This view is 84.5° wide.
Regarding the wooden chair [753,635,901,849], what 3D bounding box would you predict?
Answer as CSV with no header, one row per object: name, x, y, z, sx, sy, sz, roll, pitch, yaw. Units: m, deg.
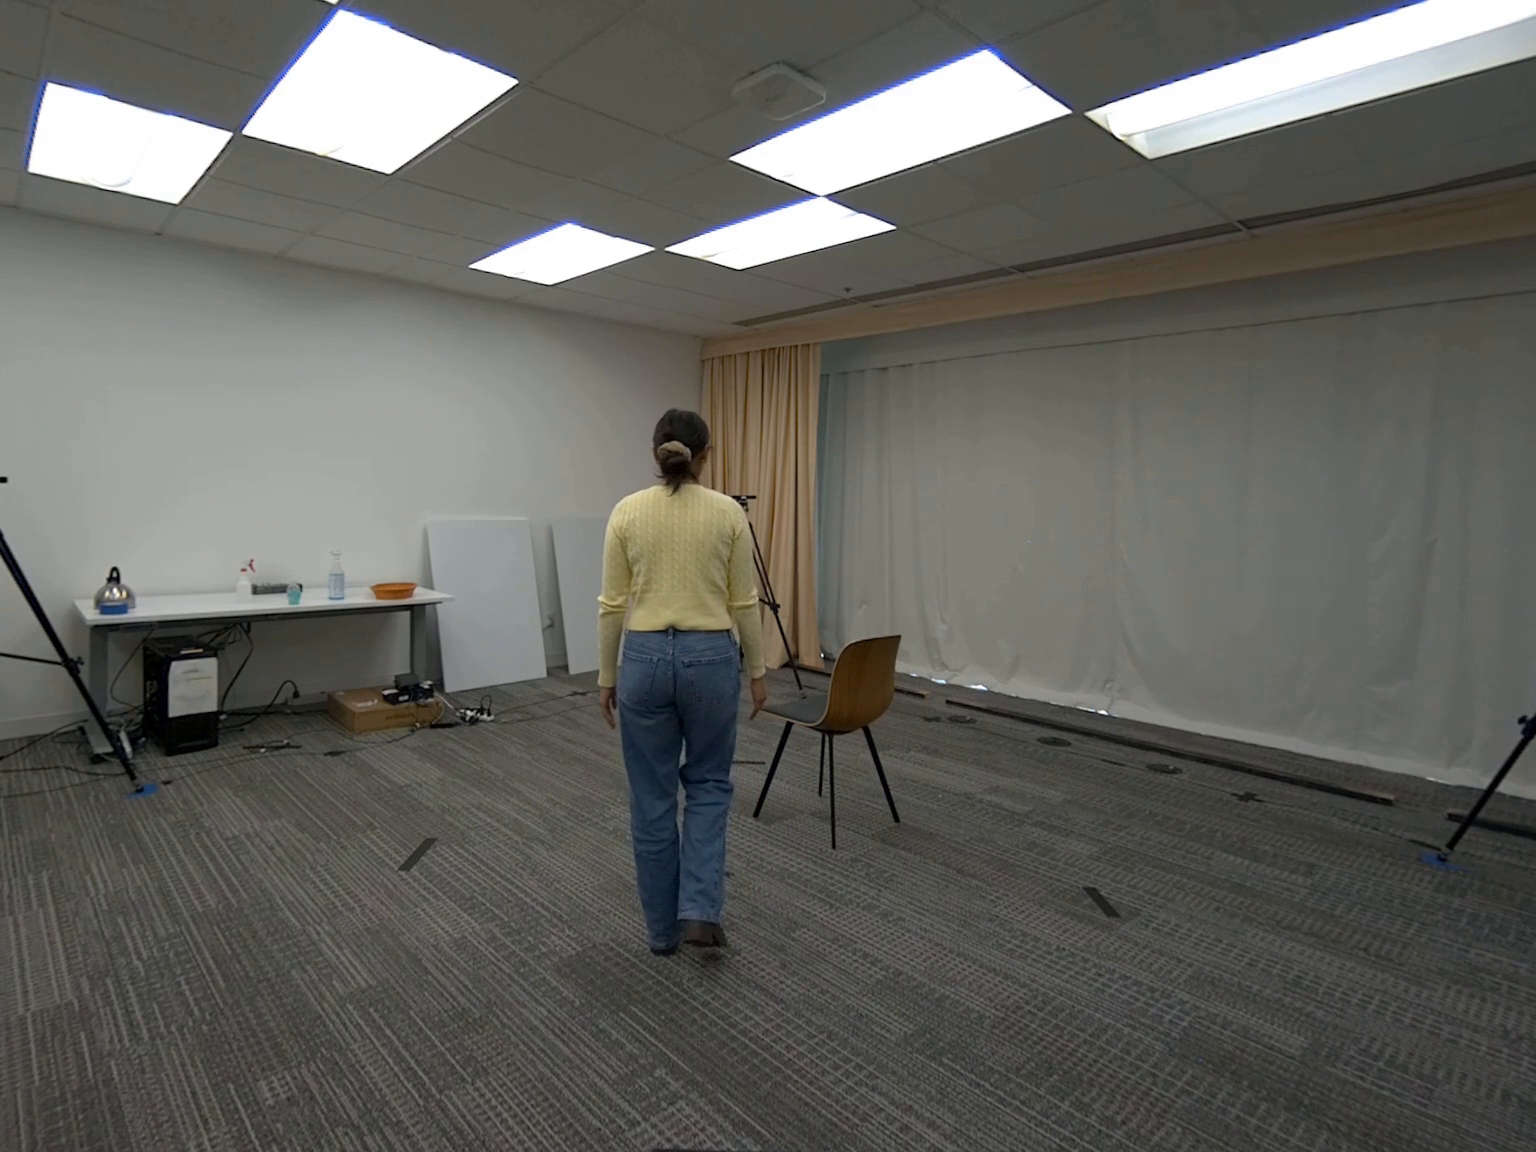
wooden chair,0.251,0.635,3.637,0.467,0.873,0.537,-2,9,-45
